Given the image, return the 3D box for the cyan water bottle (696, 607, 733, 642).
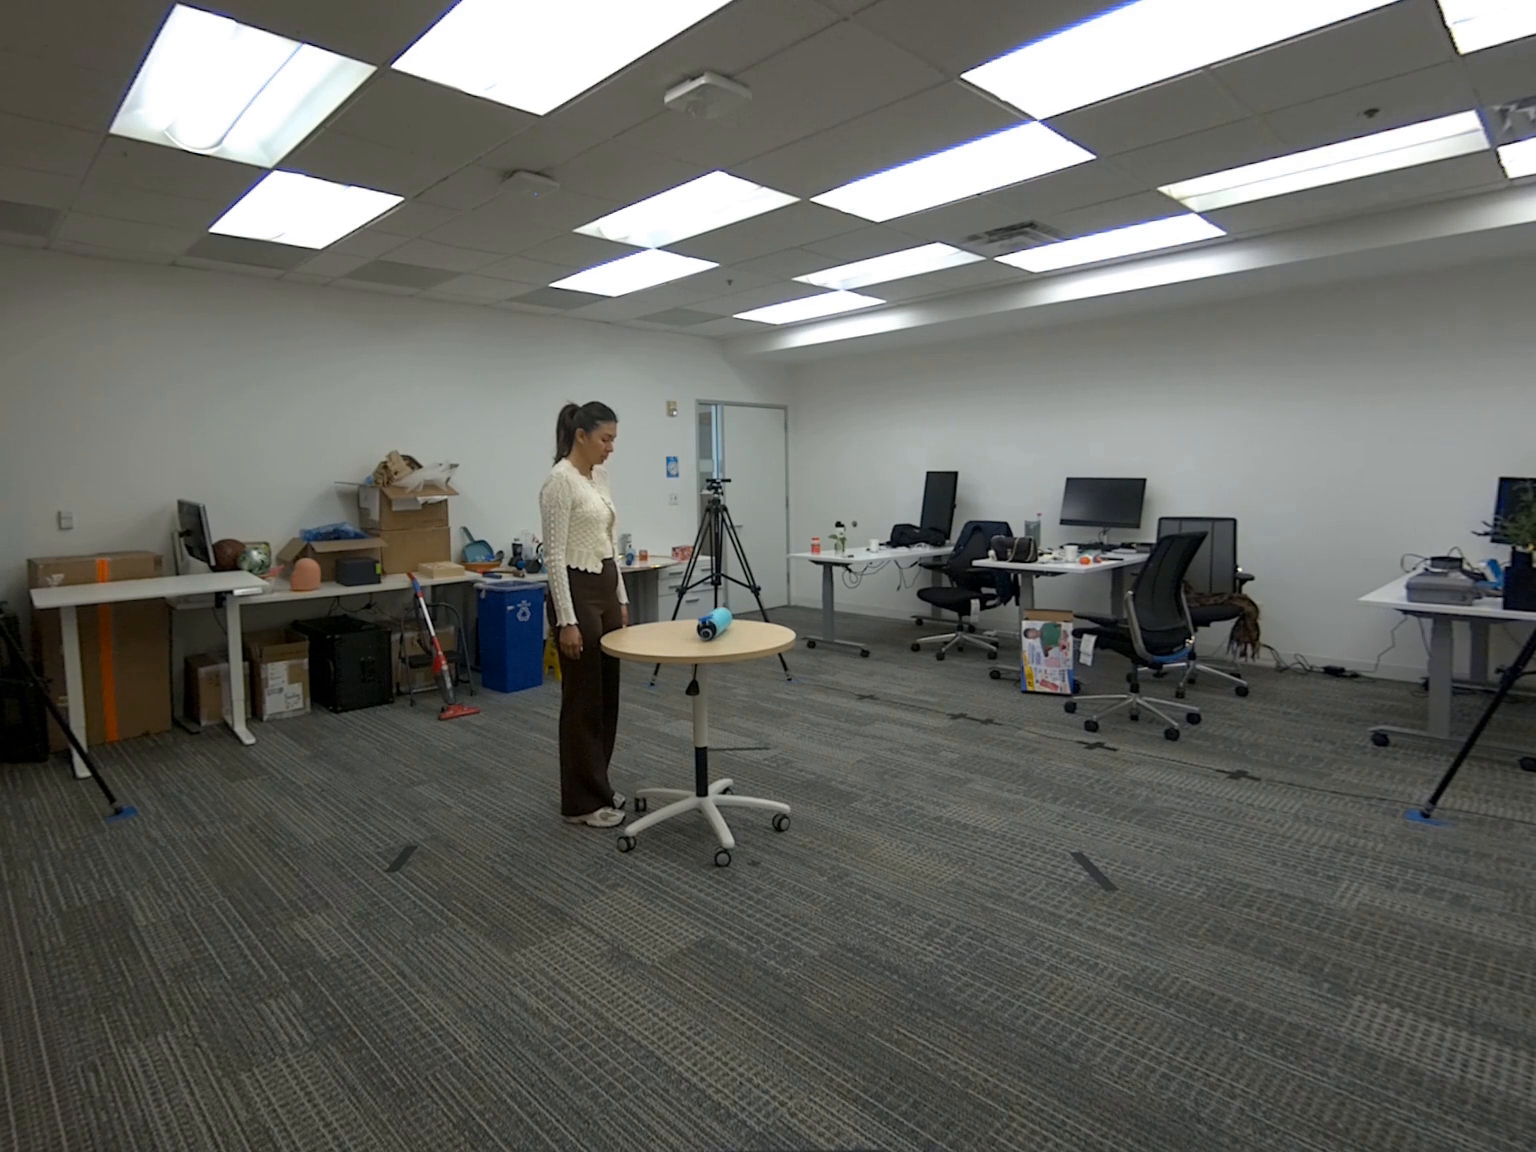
[{"bbox_3d":[-0.217,0.188,3.369,0.093,0.092,0.281,0,6,10],"label":"cyan water bottle"}]
